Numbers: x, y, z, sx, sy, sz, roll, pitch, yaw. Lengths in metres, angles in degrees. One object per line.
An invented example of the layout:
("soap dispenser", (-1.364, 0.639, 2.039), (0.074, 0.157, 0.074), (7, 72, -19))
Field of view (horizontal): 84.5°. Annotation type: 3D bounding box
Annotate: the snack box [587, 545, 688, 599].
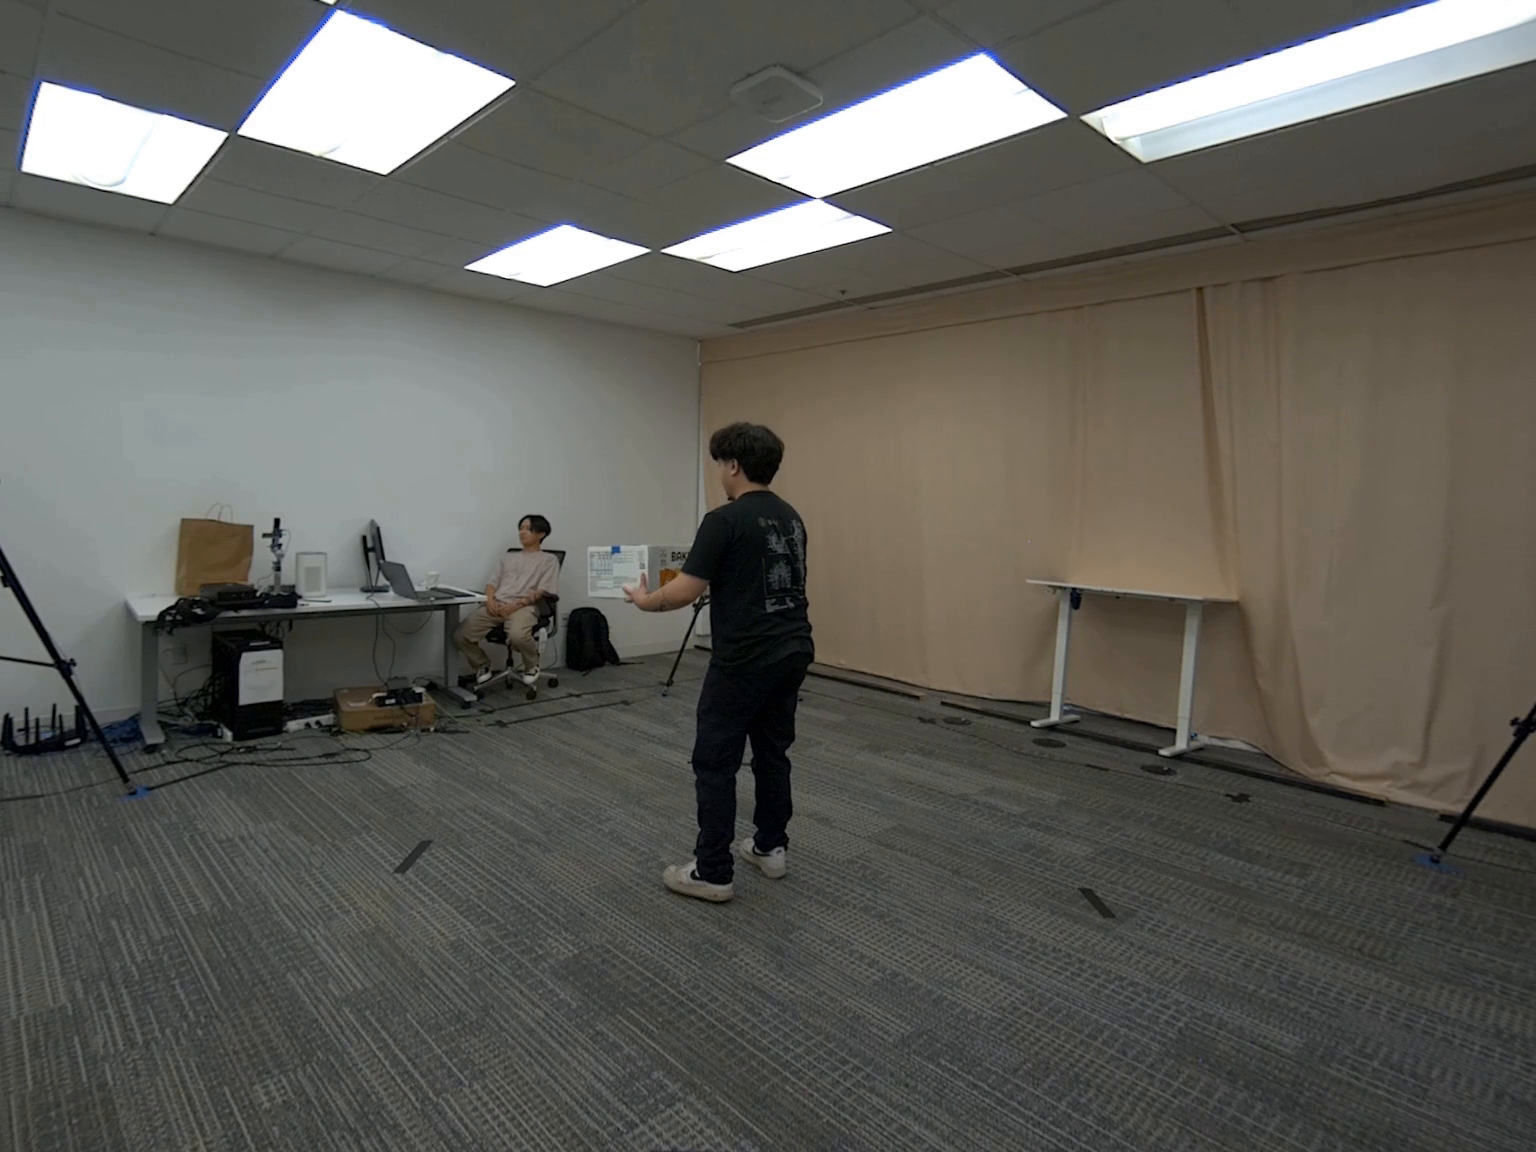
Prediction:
("snack box", (-0.466, -0.022, 3.388), (0.348, 0.205, 0.396), (0, 2, 39))
